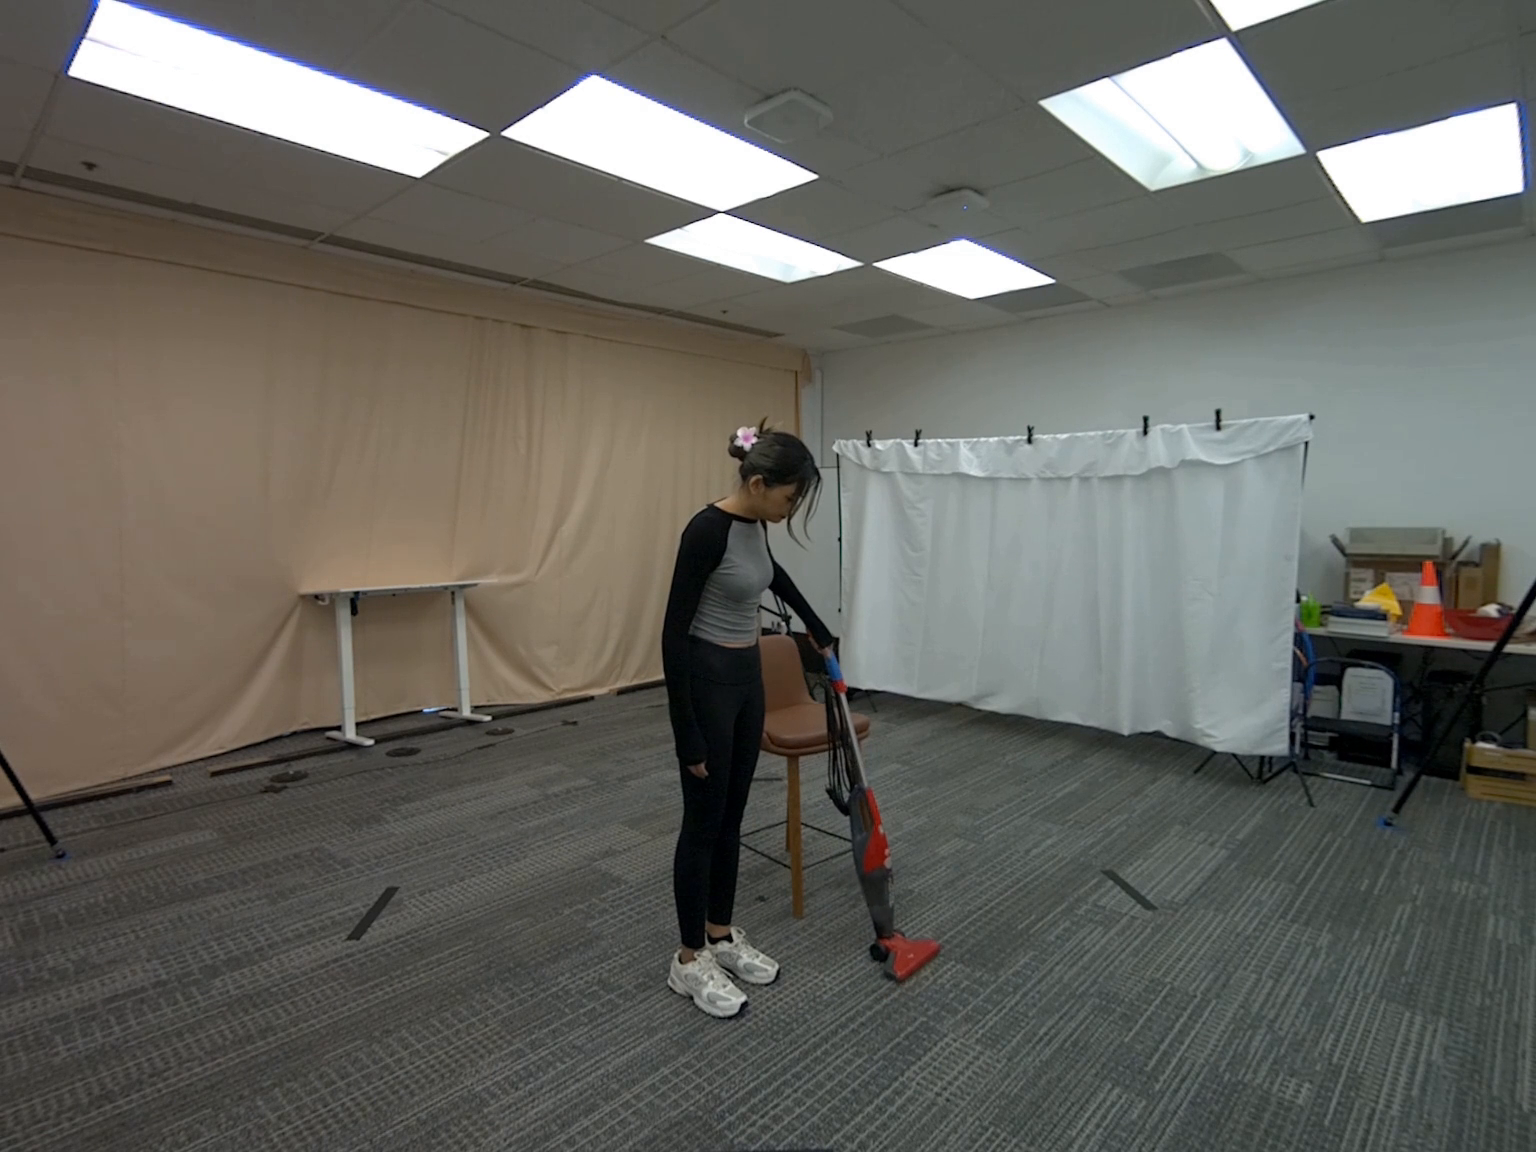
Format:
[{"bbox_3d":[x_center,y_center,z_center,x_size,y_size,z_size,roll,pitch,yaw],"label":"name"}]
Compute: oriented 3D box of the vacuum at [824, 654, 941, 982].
[{"bbox_3d":[0.287,0.675,2.671,0.147,1.058,0.245,-23,-11,40],"label":"vacuum"}]
